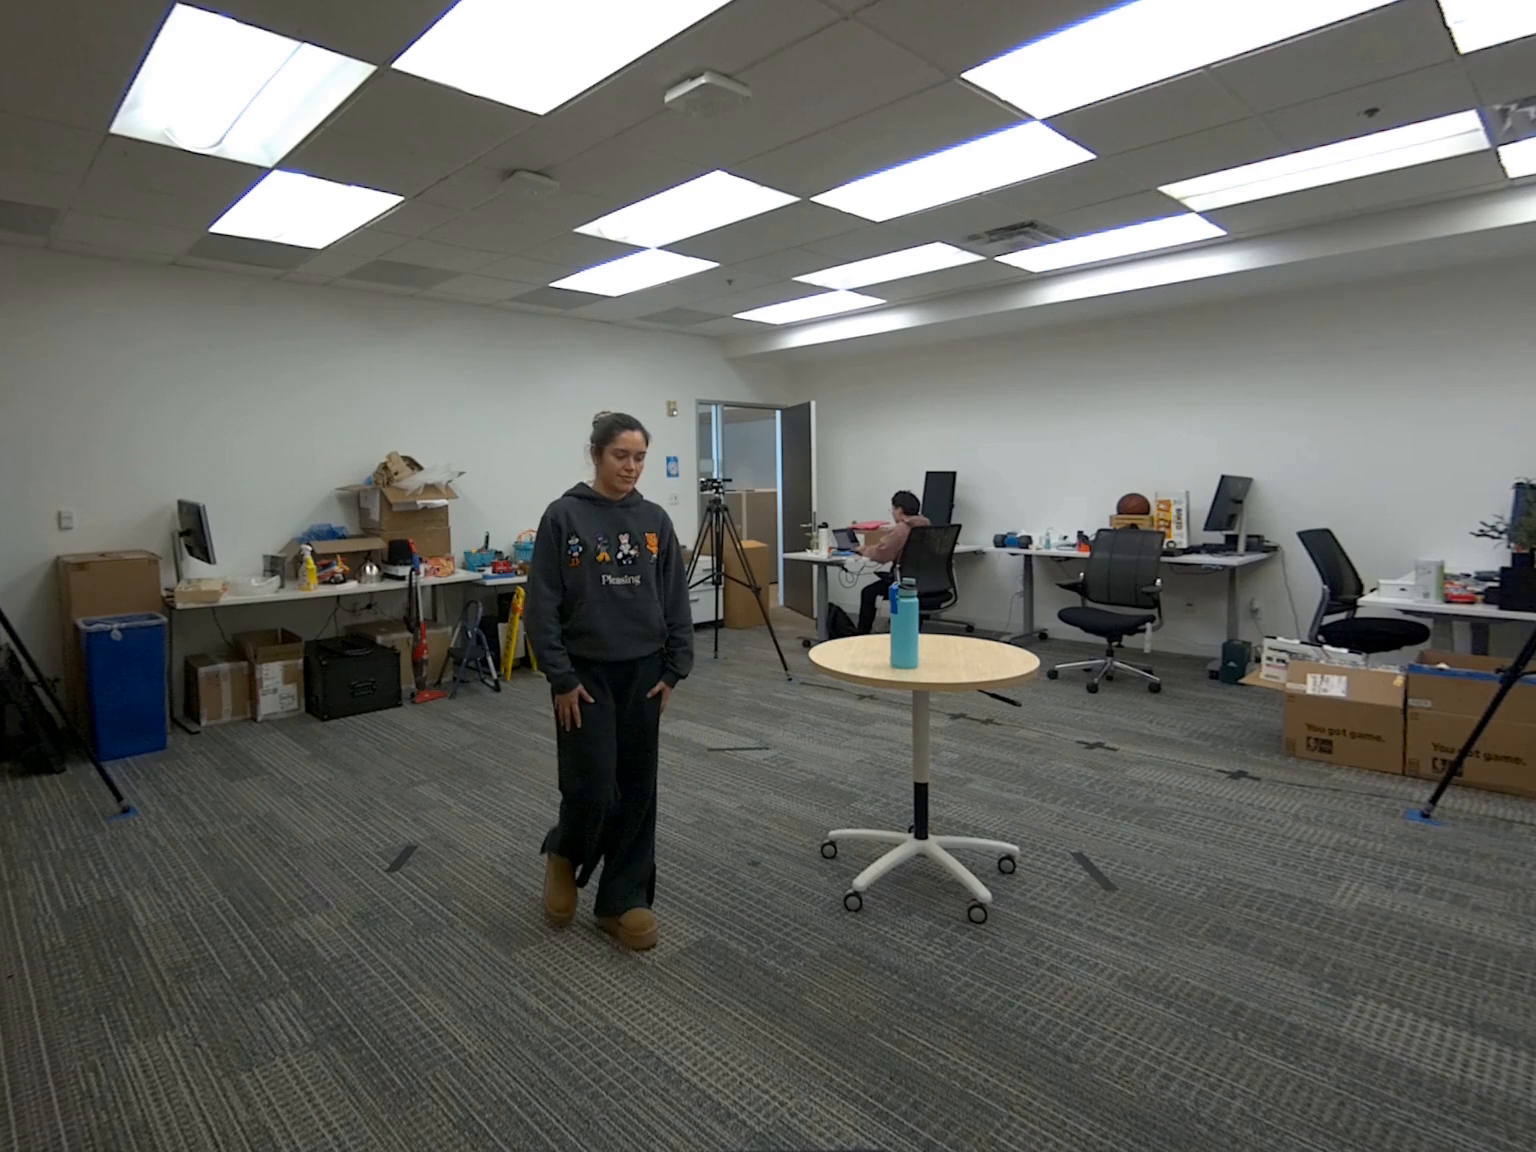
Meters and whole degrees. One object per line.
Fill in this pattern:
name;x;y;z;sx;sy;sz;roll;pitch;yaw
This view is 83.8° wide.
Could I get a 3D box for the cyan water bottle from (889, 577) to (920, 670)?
cyan water bottle;0.439;0.153;2.748;0.092;0.282;0.093;-1;5;-2
